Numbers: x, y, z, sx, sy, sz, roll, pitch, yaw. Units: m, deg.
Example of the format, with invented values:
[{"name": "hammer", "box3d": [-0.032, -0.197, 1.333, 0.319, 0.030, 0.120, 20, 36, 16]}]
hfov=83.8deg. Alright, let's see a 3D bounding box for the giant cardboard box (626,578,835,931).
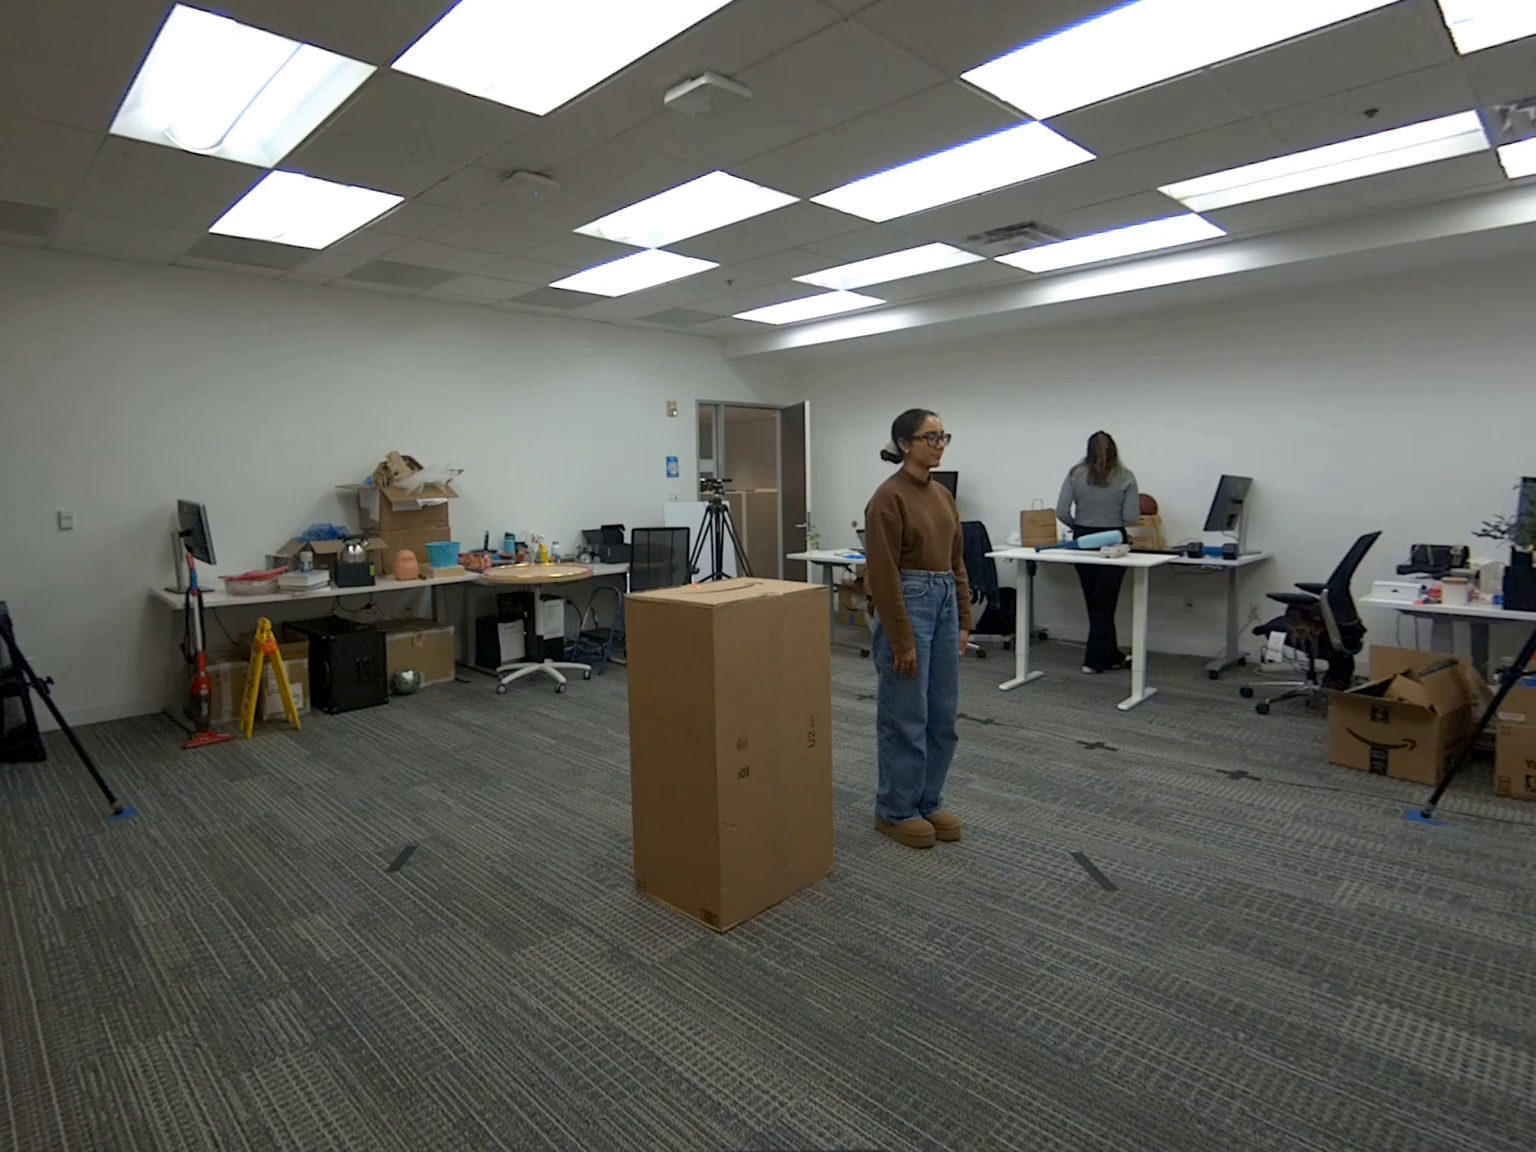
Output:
[{"name": "giant cardboard box", "box3d": [-0.122, 0.557, 2.940, 0.460, 1.023, 0.569, 3, 6, 42]}]
